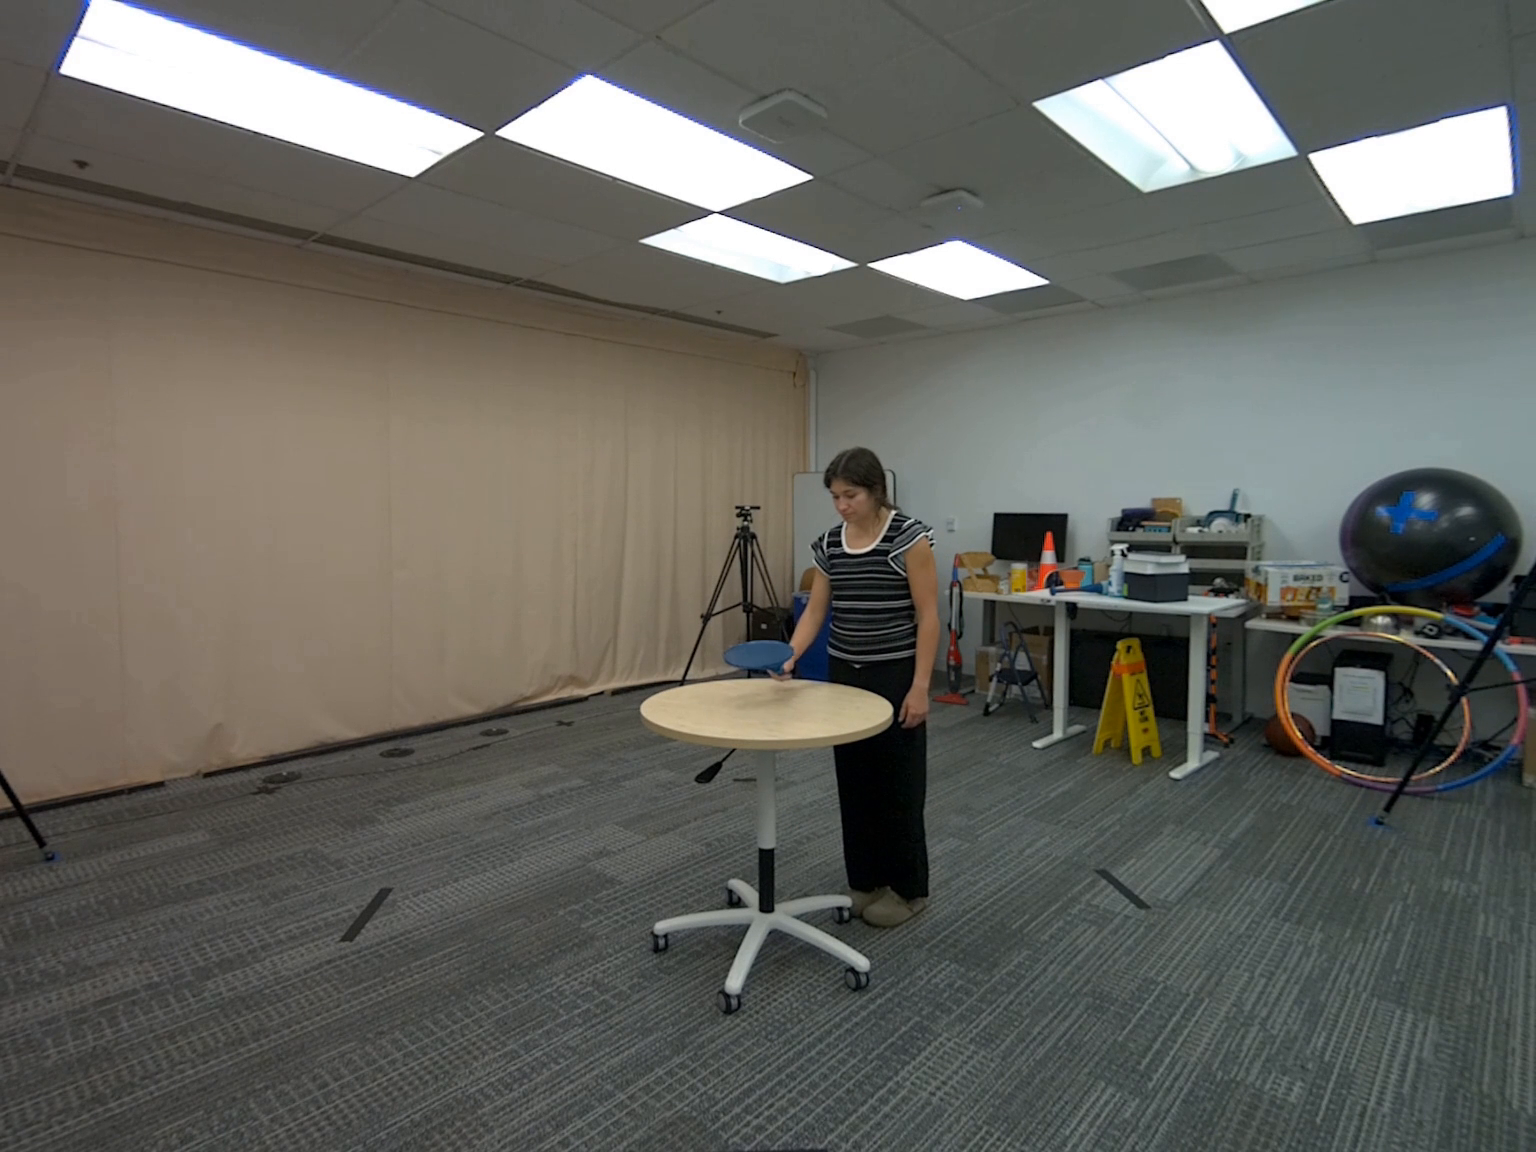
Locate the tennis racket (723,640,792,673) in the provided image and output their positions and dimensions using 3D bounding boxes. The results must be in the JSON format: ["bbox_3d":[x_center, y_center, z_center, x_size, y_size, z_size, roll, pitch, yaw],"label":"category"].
[{"bbox_3d":[-0.007,0.273,2.607,0.217,0.032,0.420,-10,-21,18],"label":"tennis racket"}]
